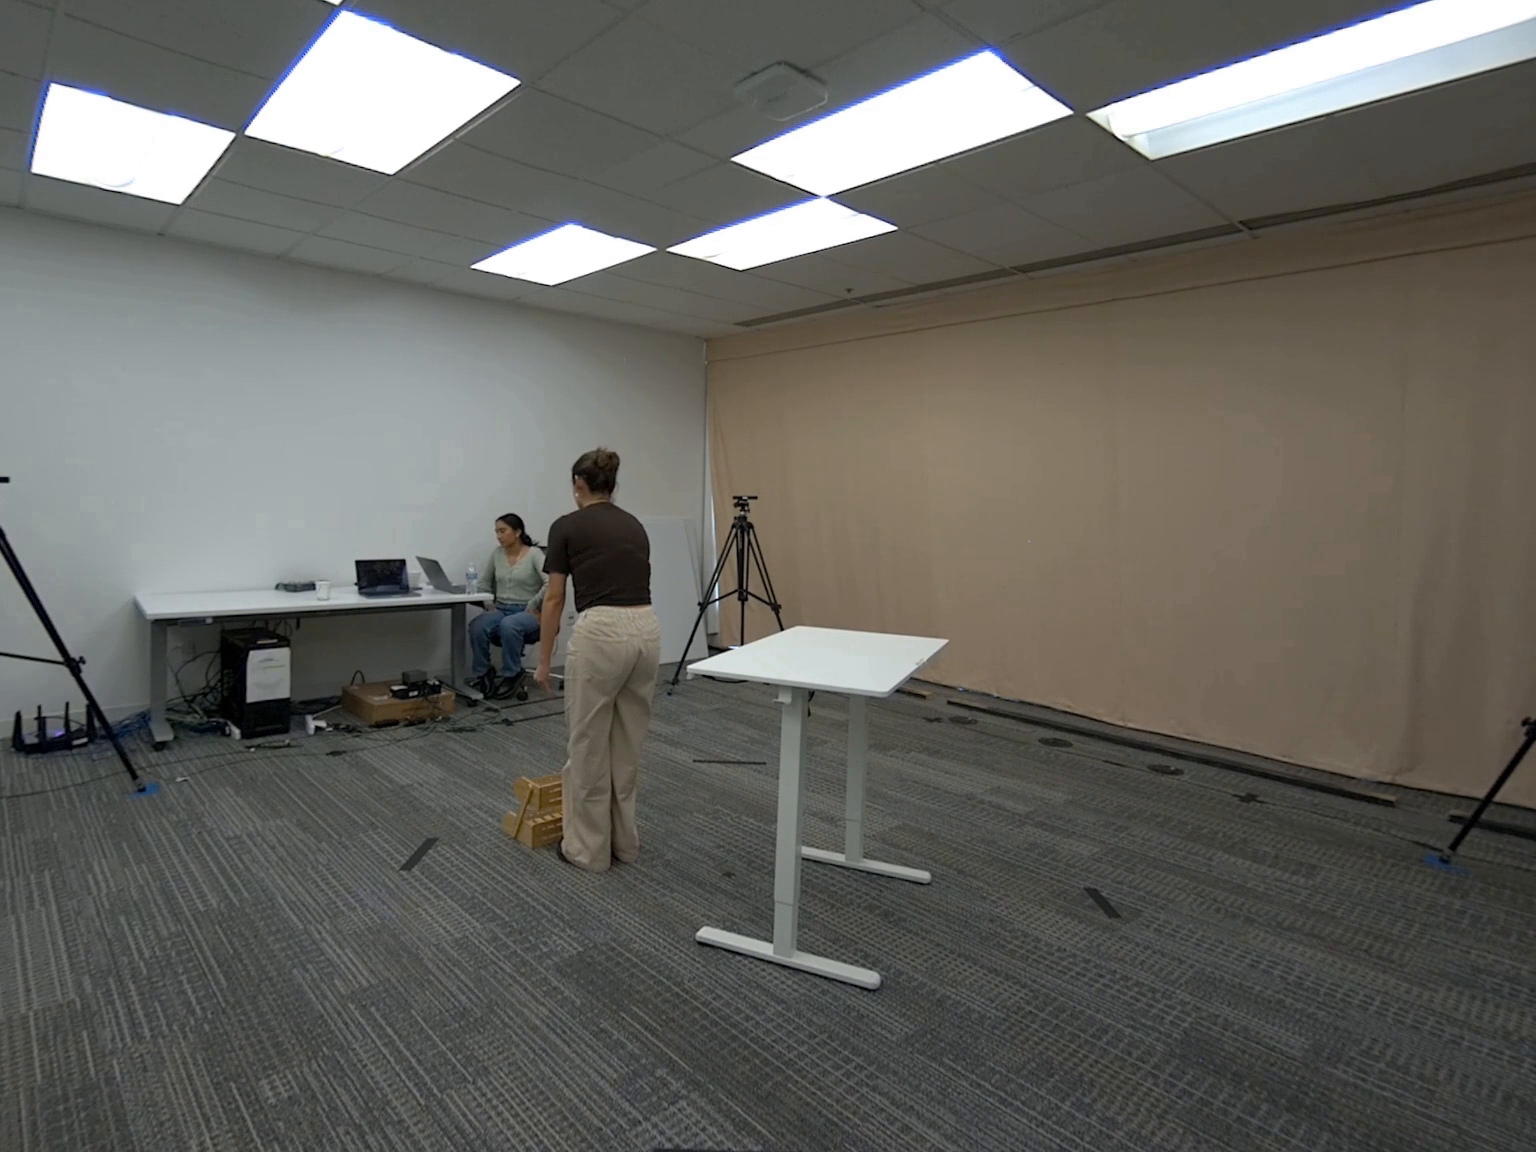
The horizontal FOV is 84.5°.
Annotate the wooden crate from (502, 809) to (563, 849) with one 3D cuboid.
[{"bbox_3d":[-0.897,0.924,3.461,0.317,0.272,0.310,-3,7,-44],"label":"wooden crate"}]
